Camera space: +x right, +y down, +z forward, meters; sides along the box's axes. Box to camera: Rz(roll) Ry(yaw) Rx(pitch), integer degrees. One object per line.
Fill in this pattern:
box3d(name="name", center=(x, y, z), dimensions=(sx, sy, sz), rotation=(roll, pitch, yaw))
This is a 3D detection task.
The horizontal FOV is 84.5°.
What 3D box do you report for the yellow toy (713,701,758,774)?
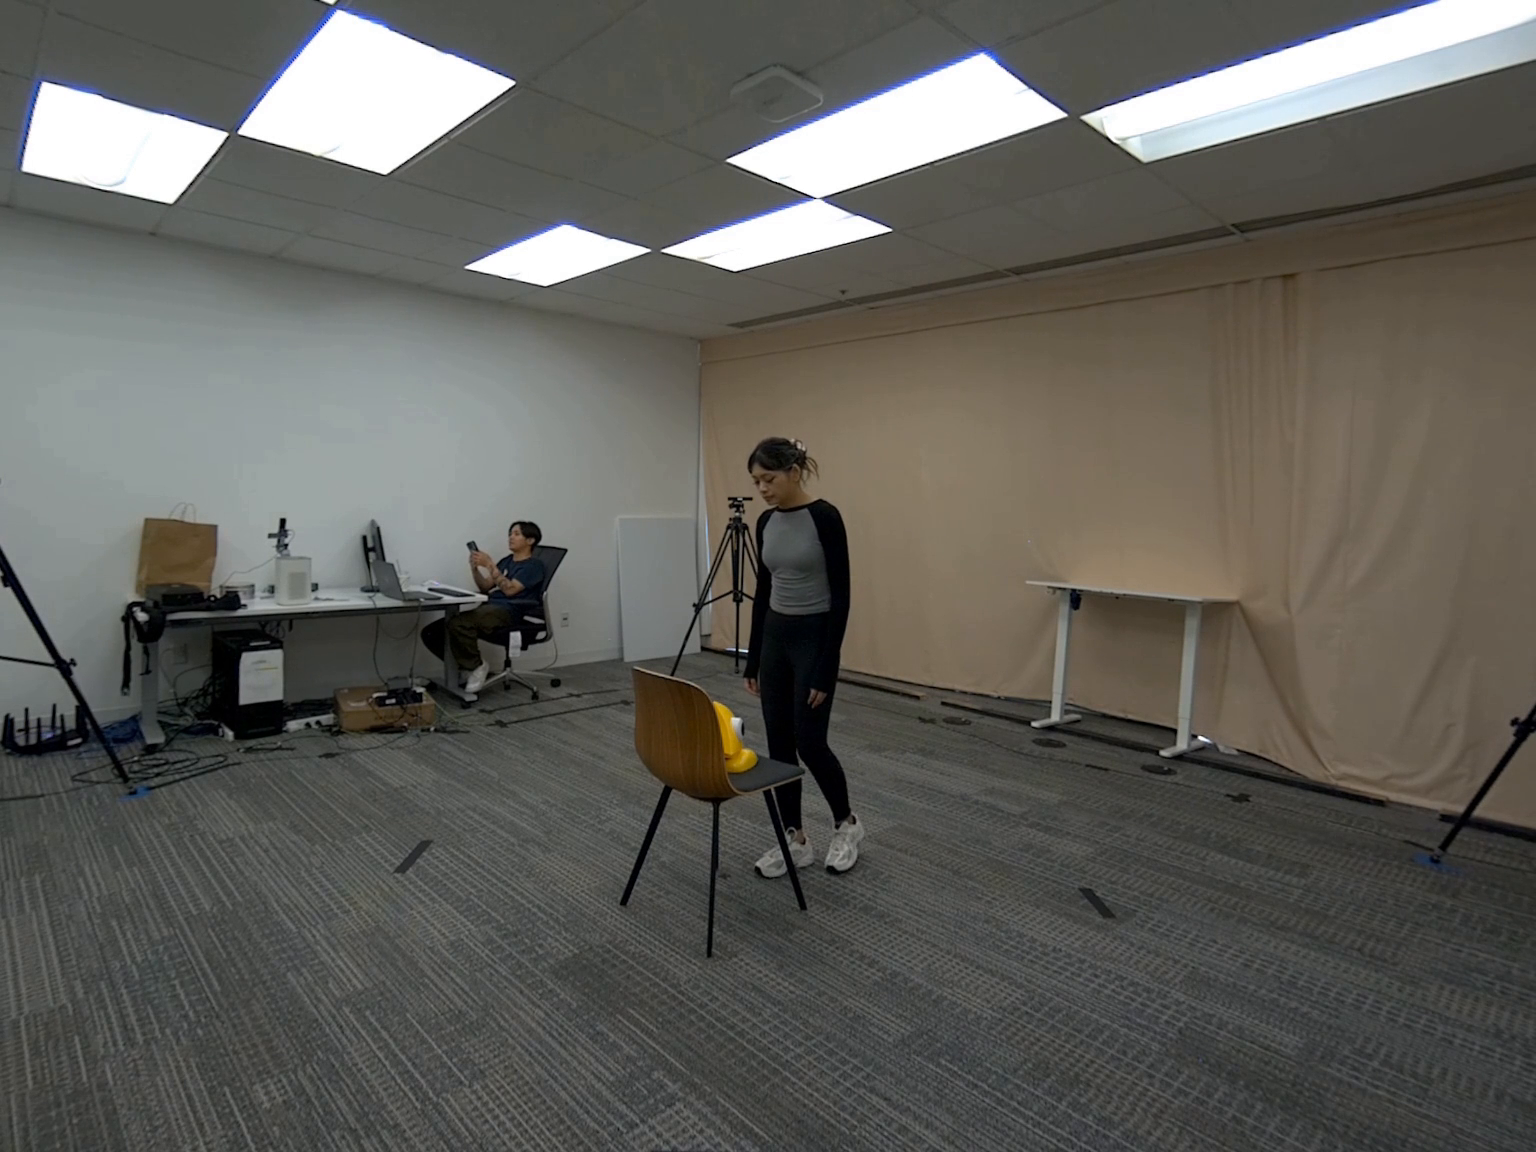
box3d(name="yellow toy", center=(-0.150, 0.532, 2.889), dimensions=(0.210, 0.229, 0.189), rotation=(7, 11, 38))
